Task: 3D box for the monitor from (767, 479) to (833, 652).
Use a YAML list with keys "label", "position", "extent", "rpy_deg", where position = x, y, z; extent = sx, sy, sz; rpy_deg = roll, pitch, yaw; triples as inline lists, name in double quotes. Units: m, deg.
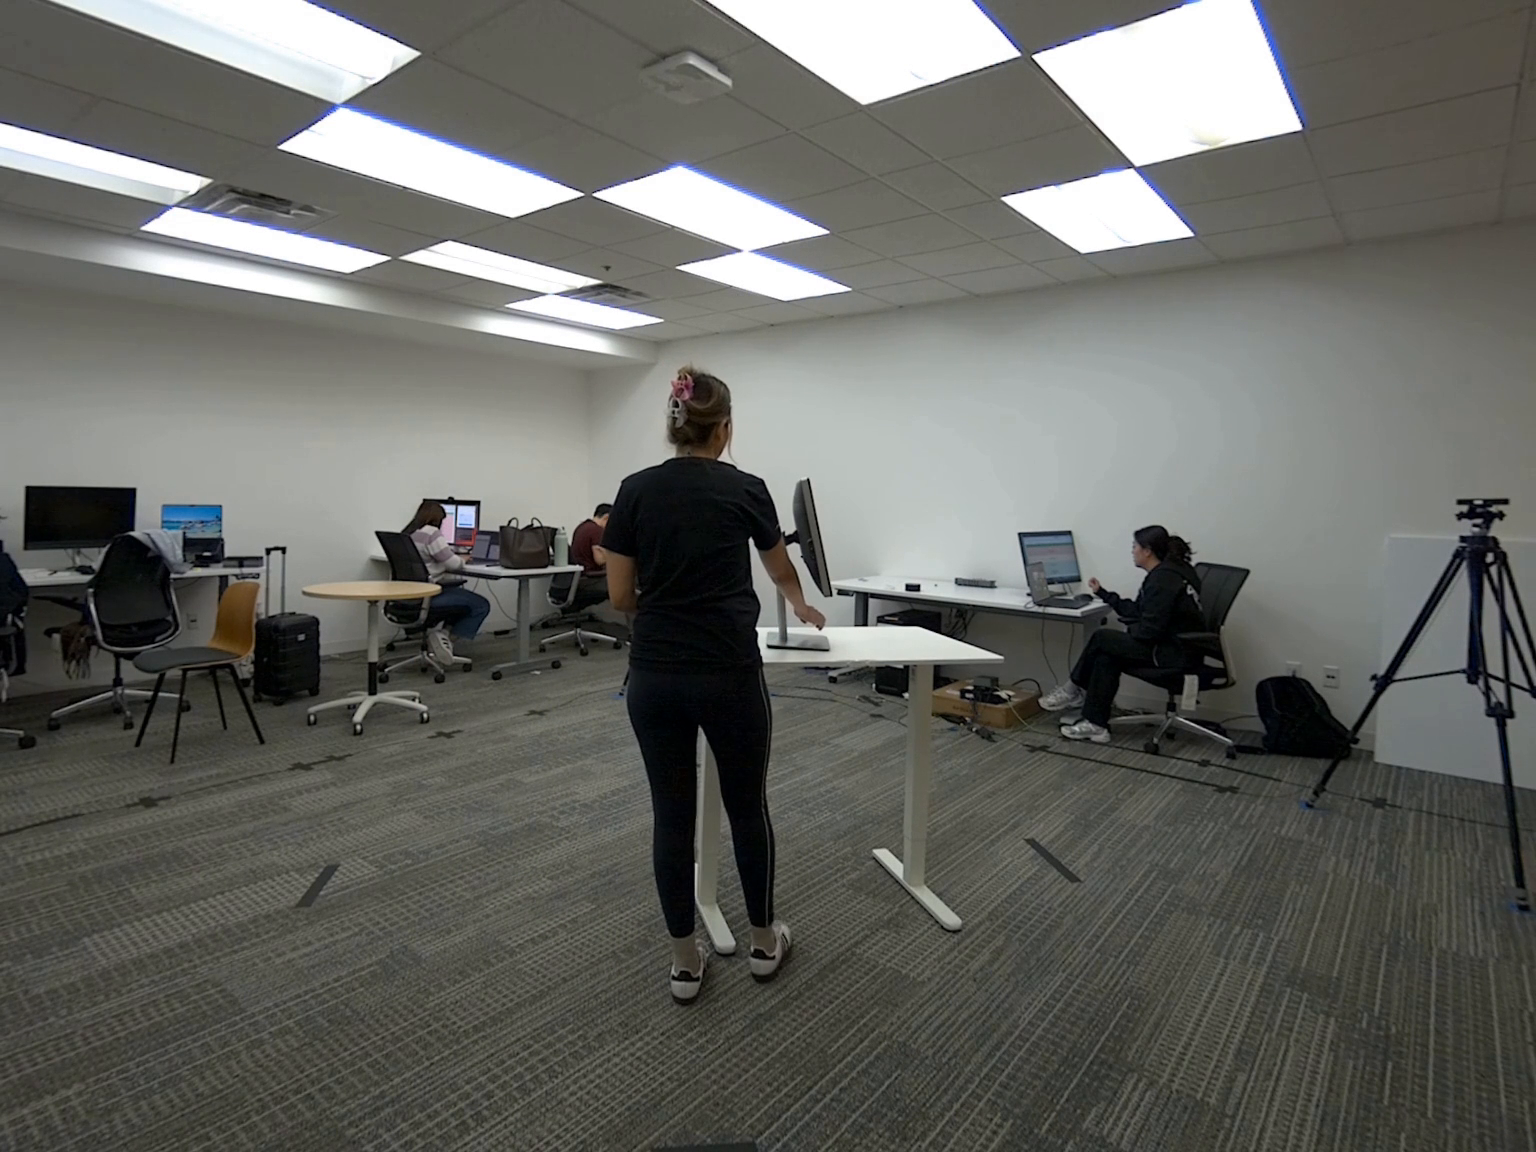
- label: "monitor"
  position: [0.096, -0.043, 2.809]
  extent: [0.187, 0.521, 0.541]
  rpy_deg: [1, 3, -2]
